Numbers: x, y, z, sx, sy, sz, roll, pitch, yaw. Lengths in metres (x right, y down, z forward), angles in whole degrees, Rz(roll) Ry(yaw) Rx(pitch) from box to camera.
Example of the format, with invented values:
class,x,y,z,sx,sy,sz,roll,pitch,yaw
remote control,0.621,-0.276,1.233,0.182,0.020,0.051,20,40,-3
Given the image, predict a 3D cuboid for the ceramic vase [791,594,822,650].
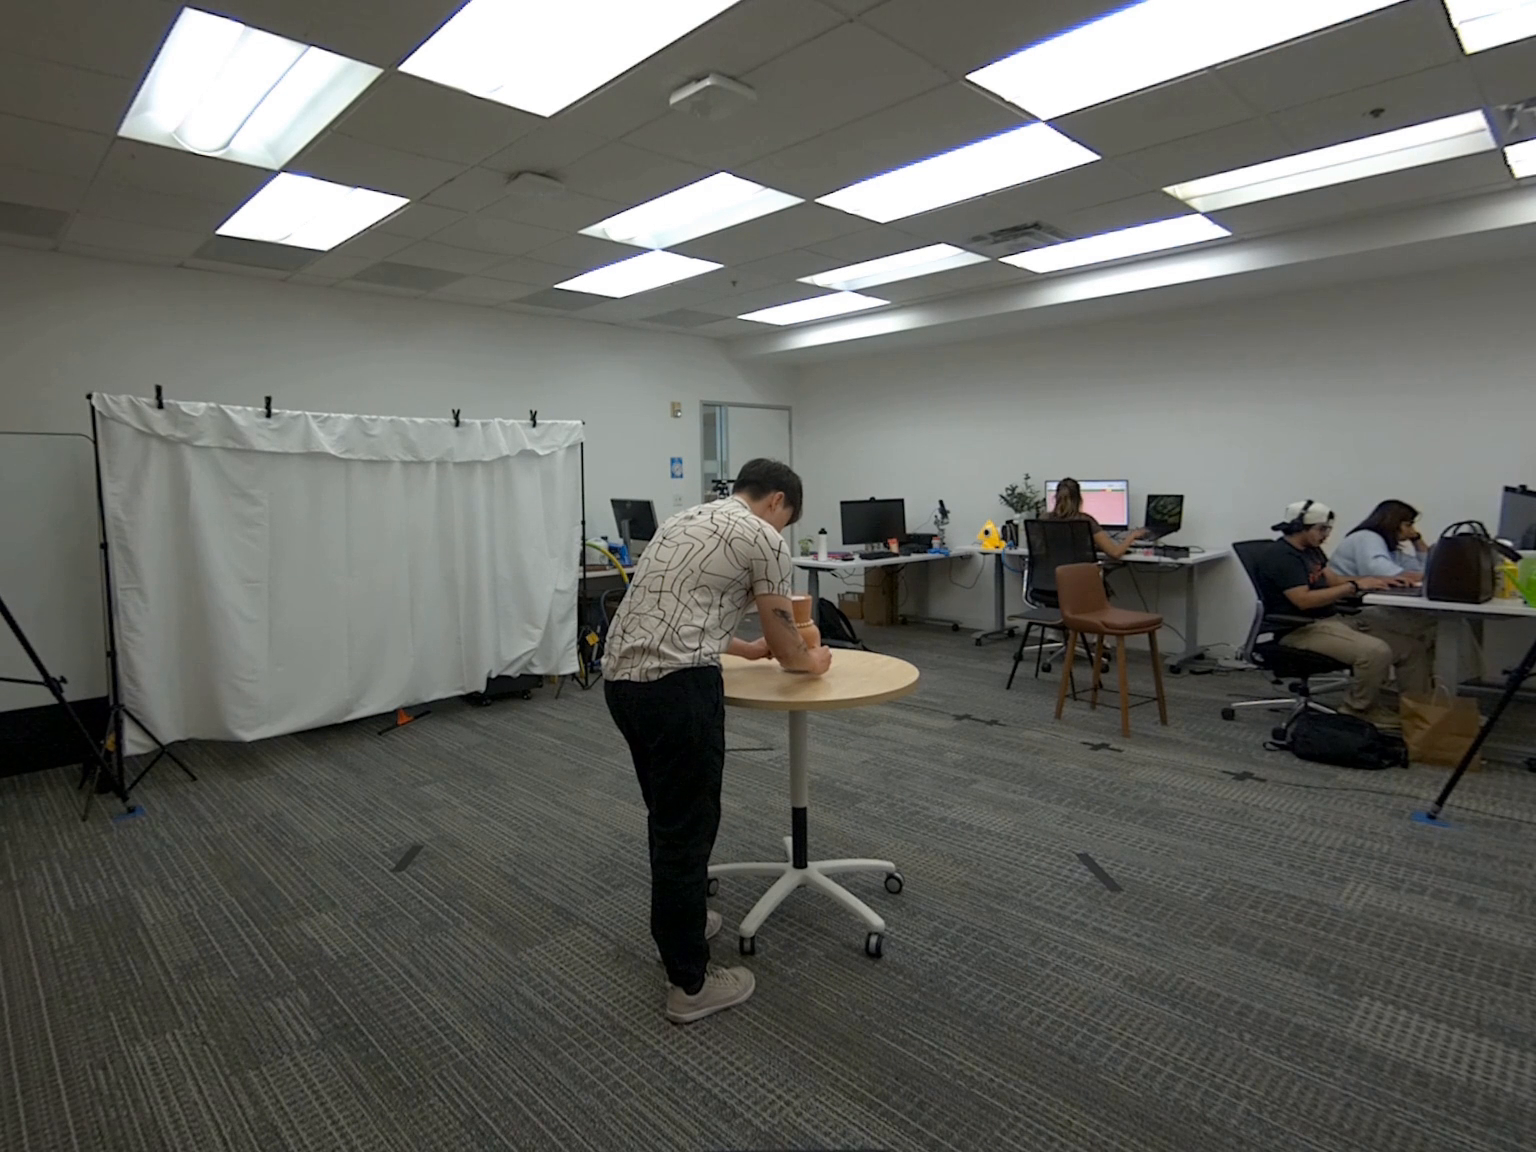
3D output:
class,x,y,z,sx,sy,sz,roll,pitch,yaw
ceramic vase,0.103,0.179,2.730,0.160,0.218,0.134,-3,8,9
